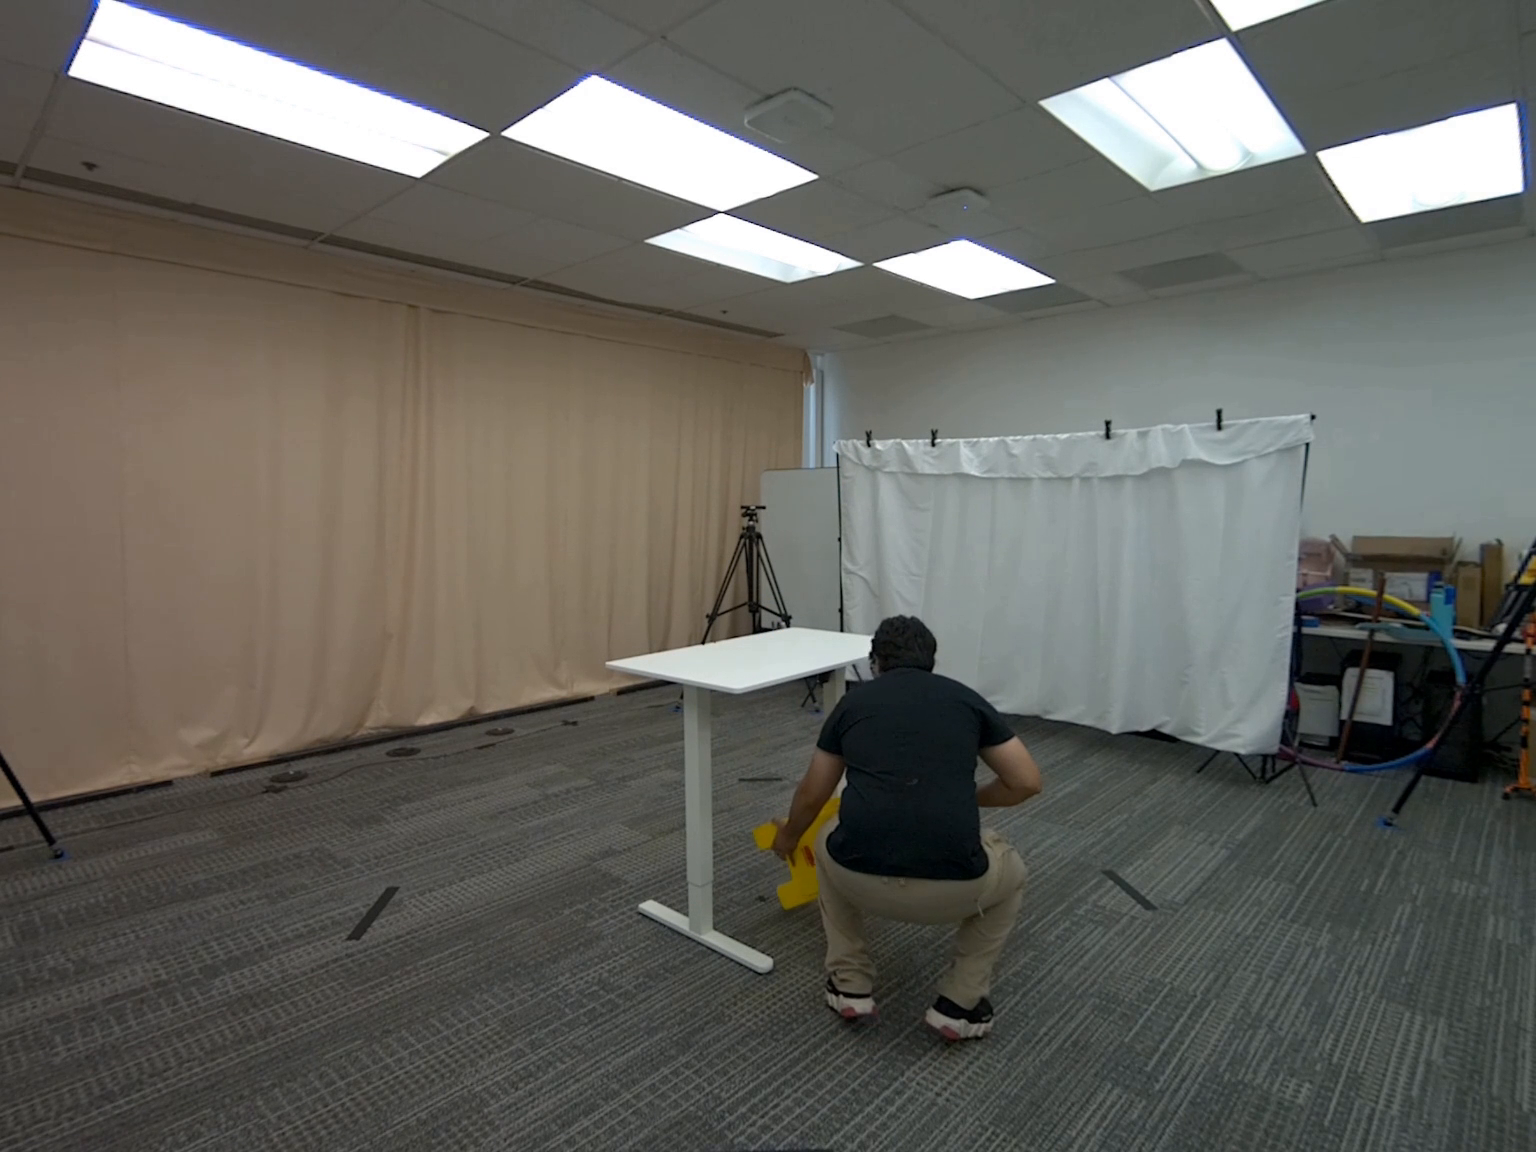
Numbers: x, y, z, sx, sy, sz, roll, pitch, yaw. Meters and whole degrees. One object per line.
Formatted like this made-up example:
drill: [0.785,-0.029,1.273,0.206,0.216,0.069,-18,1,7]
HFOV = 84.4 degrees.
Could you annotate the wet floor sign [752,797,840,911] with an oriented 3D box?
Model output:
wet floor sign: [0.317,0.835,2.732,0.656,0.286,0.281,-29,-14,29]
